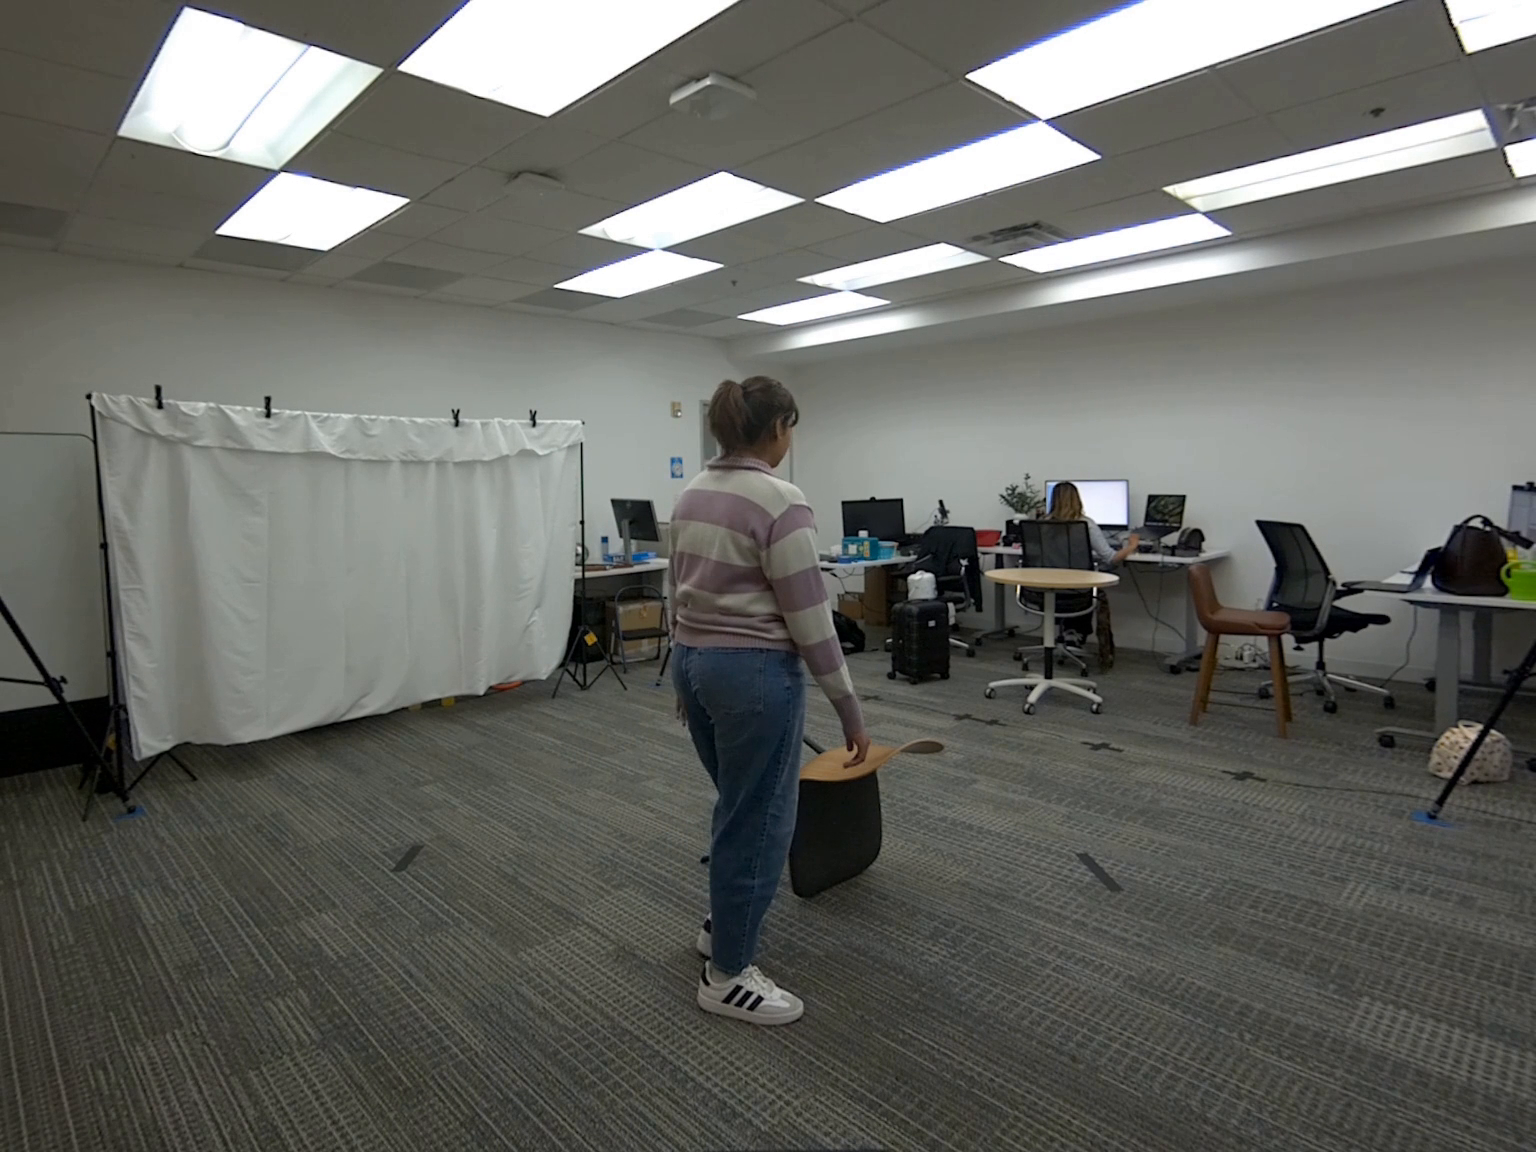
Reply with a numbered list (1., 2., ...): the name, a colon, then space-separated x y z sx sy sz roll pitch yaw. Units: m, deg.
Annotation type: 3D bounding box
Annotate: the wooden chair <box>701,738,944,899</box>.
1. wooden chair: 0.197 0.802 2.945 0.465 0.525 0.899 -4 -3 -42
